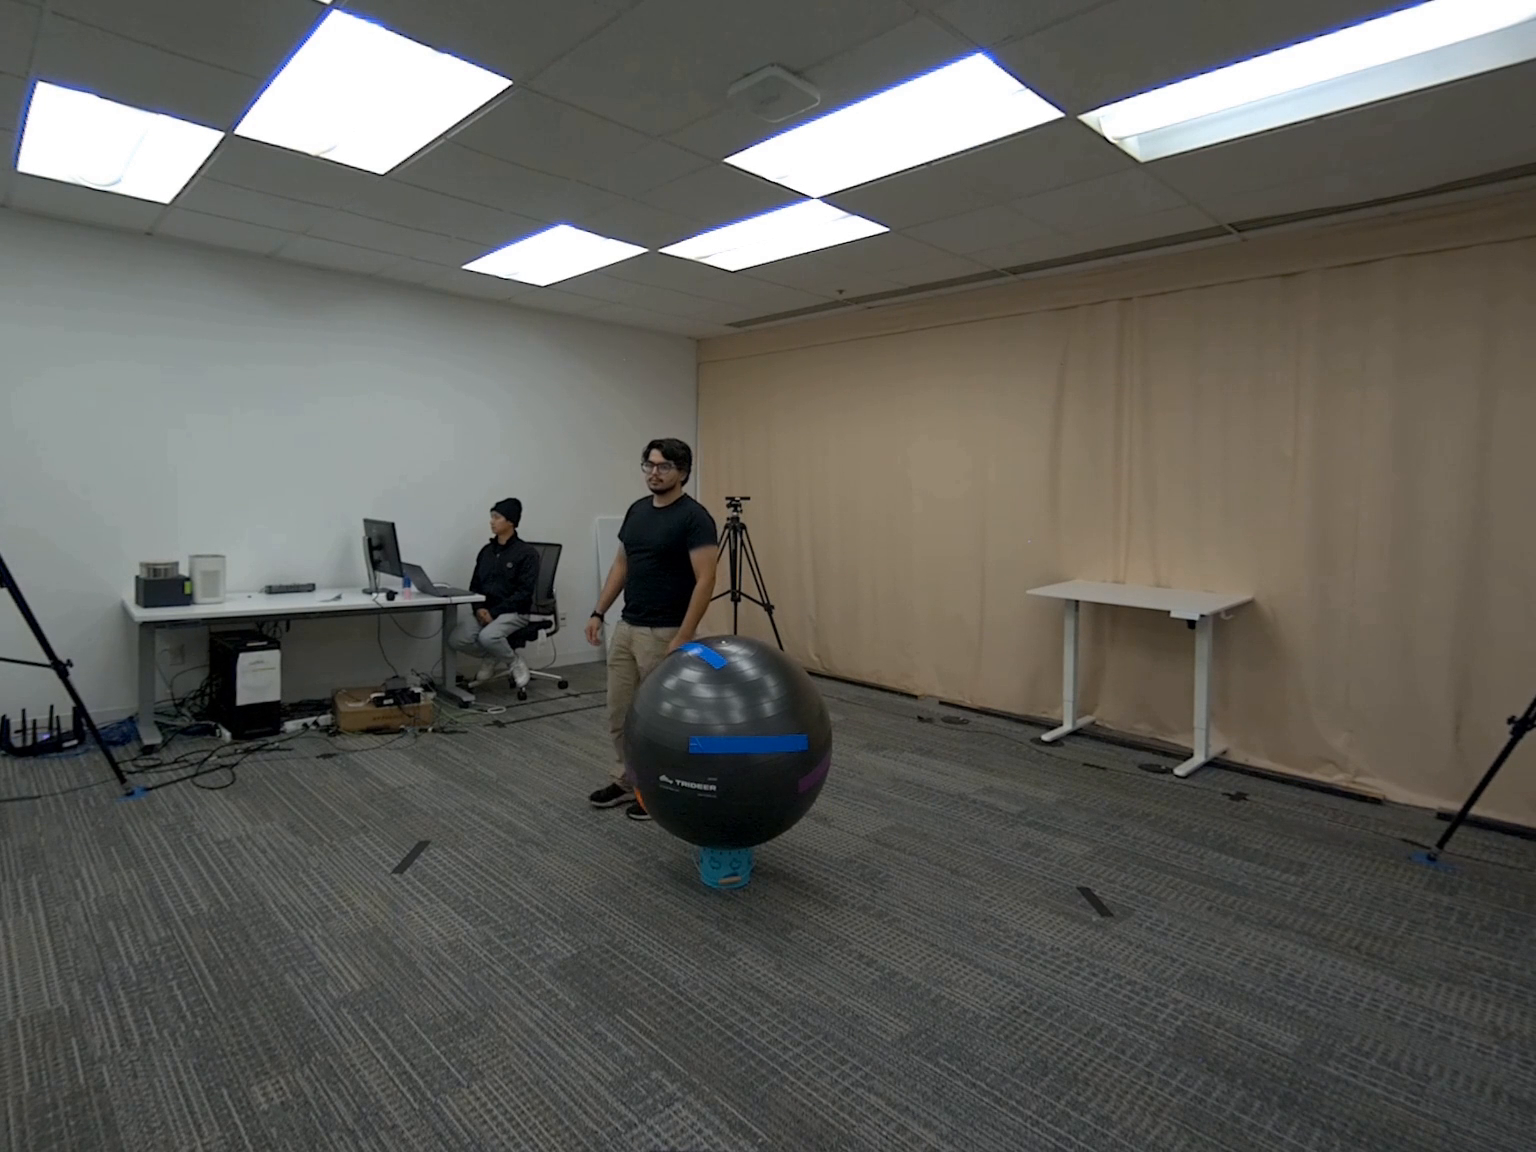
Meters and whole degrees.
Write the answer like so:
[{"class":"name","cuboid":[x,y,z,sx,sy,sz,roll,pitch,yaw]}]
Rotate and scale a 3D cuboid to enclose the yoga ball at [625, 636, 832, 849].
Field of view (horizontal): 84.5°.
[{"class":"yoga ball","cuboid":[-0.156,0.599,3.054,0.757,0.756,0.760,1,4,-1]}]
